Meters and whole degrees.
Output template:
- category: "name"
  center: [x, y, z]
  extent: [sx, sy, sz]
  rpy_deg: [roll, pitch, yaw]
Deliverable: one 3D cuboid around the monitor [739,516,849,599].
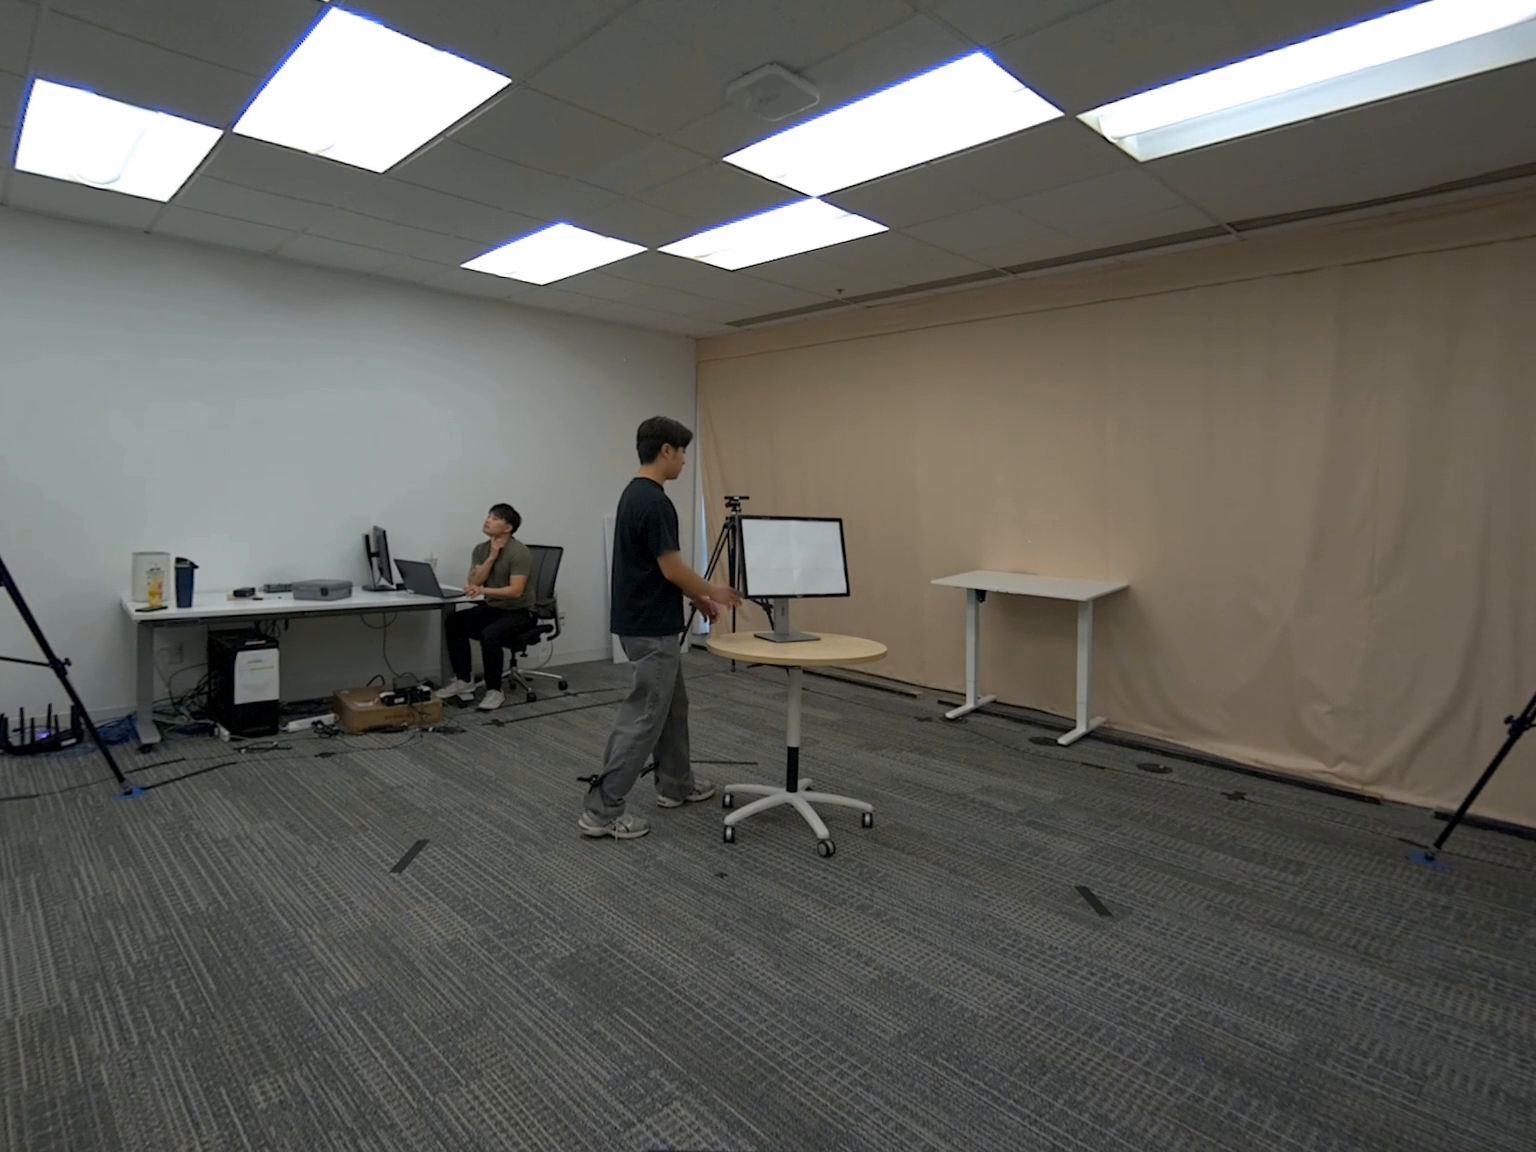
- category: "monitor"
  center: [0.087, 0.018, 3.741]
  extent: [0.551, 0.564, 0.227]
  rpy_deg: [0, 5, -29]
